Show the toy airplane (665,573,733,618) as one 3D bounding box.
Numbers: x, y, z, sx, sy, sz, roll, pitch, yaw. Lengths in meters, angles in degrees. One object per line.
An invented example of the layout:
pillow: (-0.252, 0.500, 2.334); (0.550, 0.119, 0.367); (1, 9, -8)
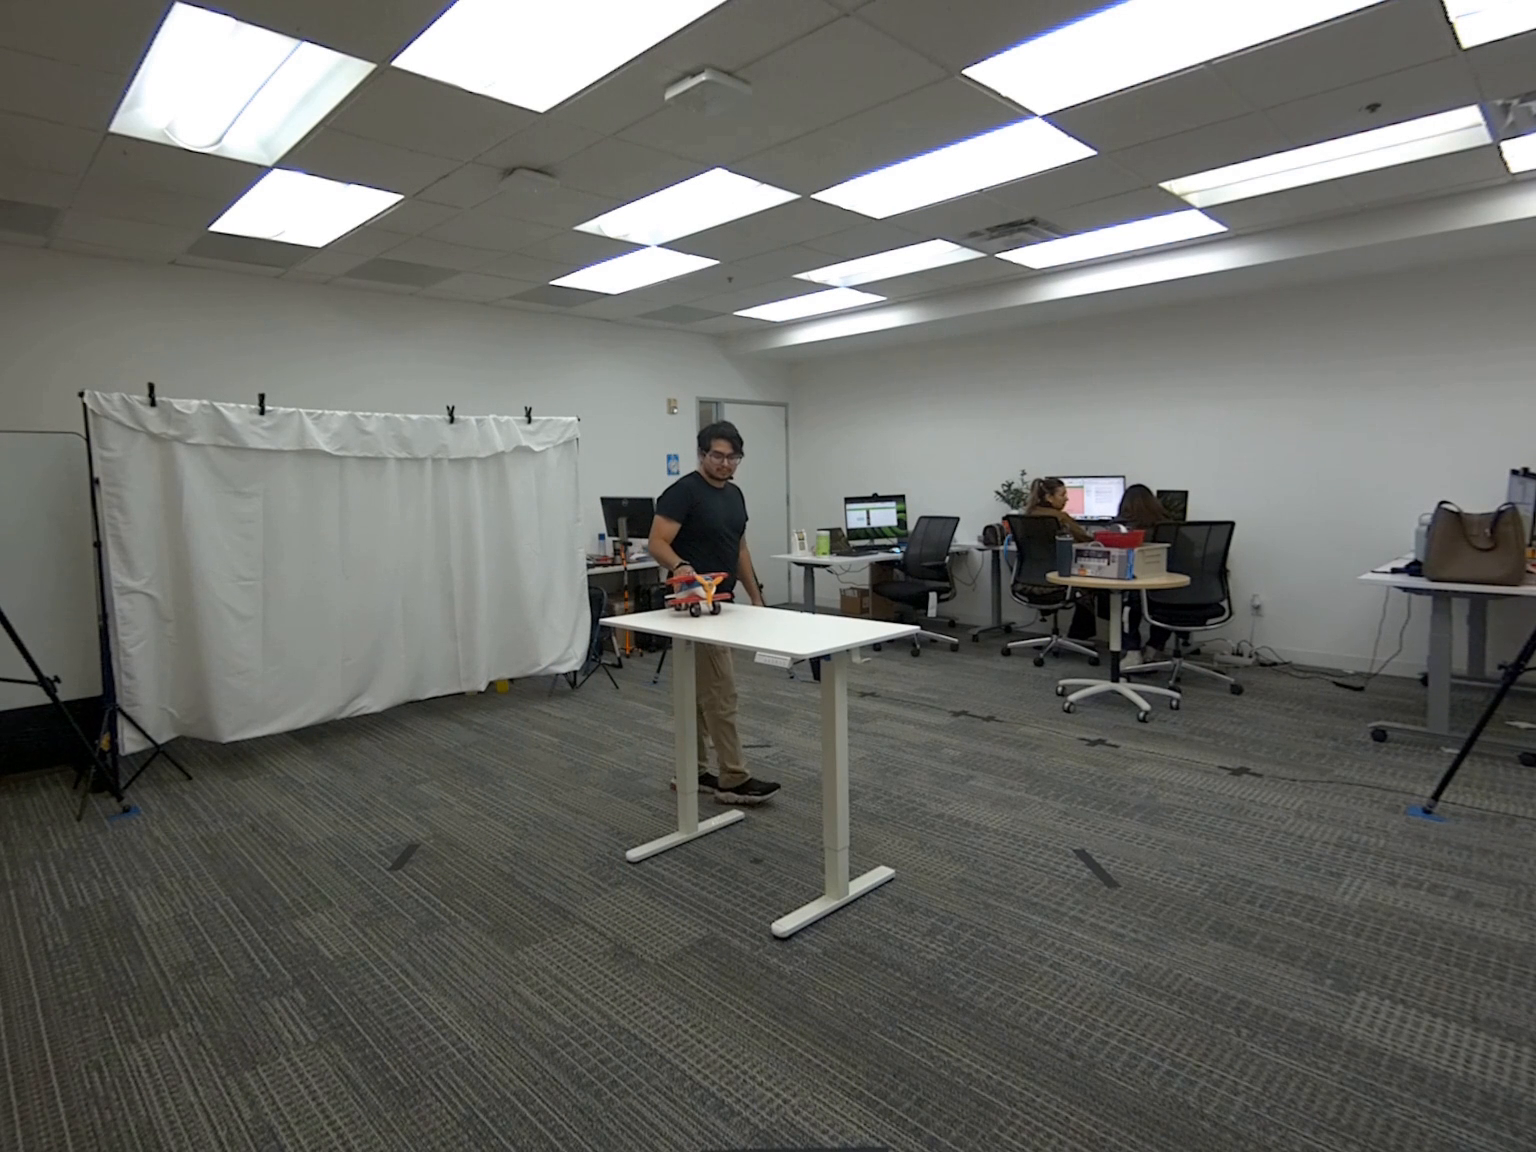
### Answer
toy airplane: (-0.296, 0.071, 3.243); (0.266, 0.156, 0.245); (3, 5, 29)
